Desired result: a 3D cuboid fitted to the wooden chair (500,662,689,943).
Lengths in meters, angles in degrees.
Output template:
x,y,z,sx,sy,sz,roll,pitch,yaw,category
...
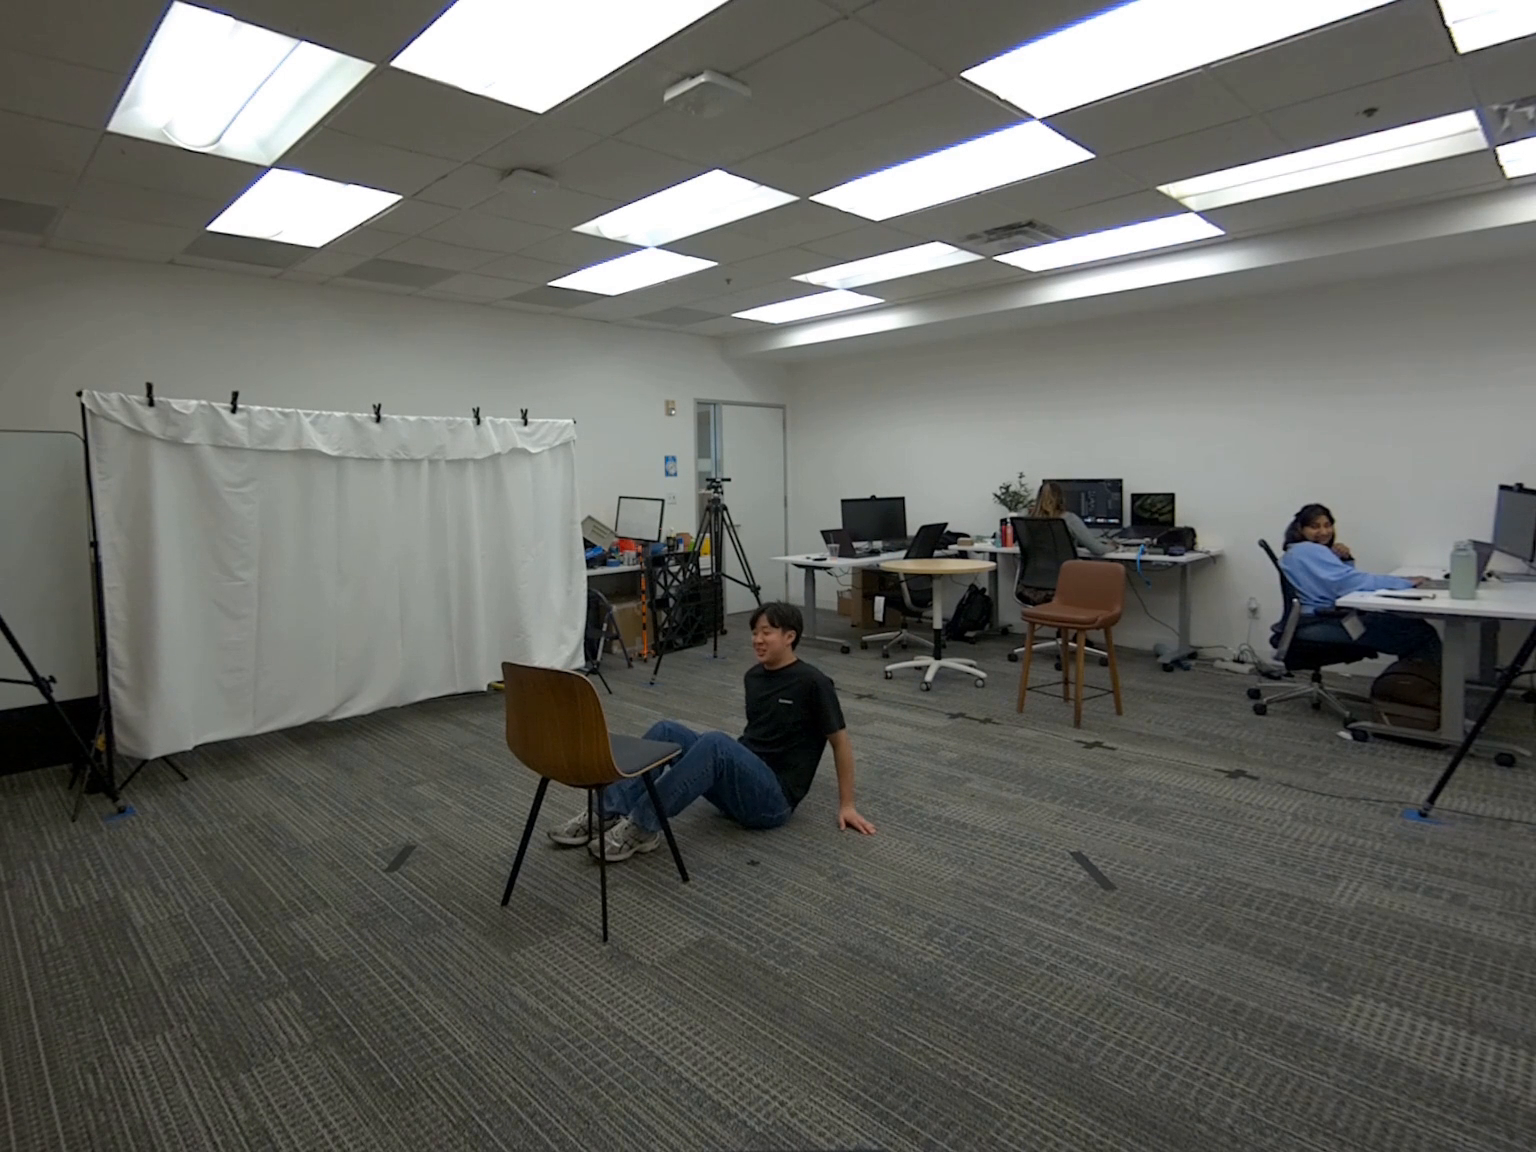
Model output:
x,y,z,sx,sy,sz,roll,pitch,yaw,category
-0.576,0.652,2.869,0.491,0.871,0.513,2,9,31,wooden chair
